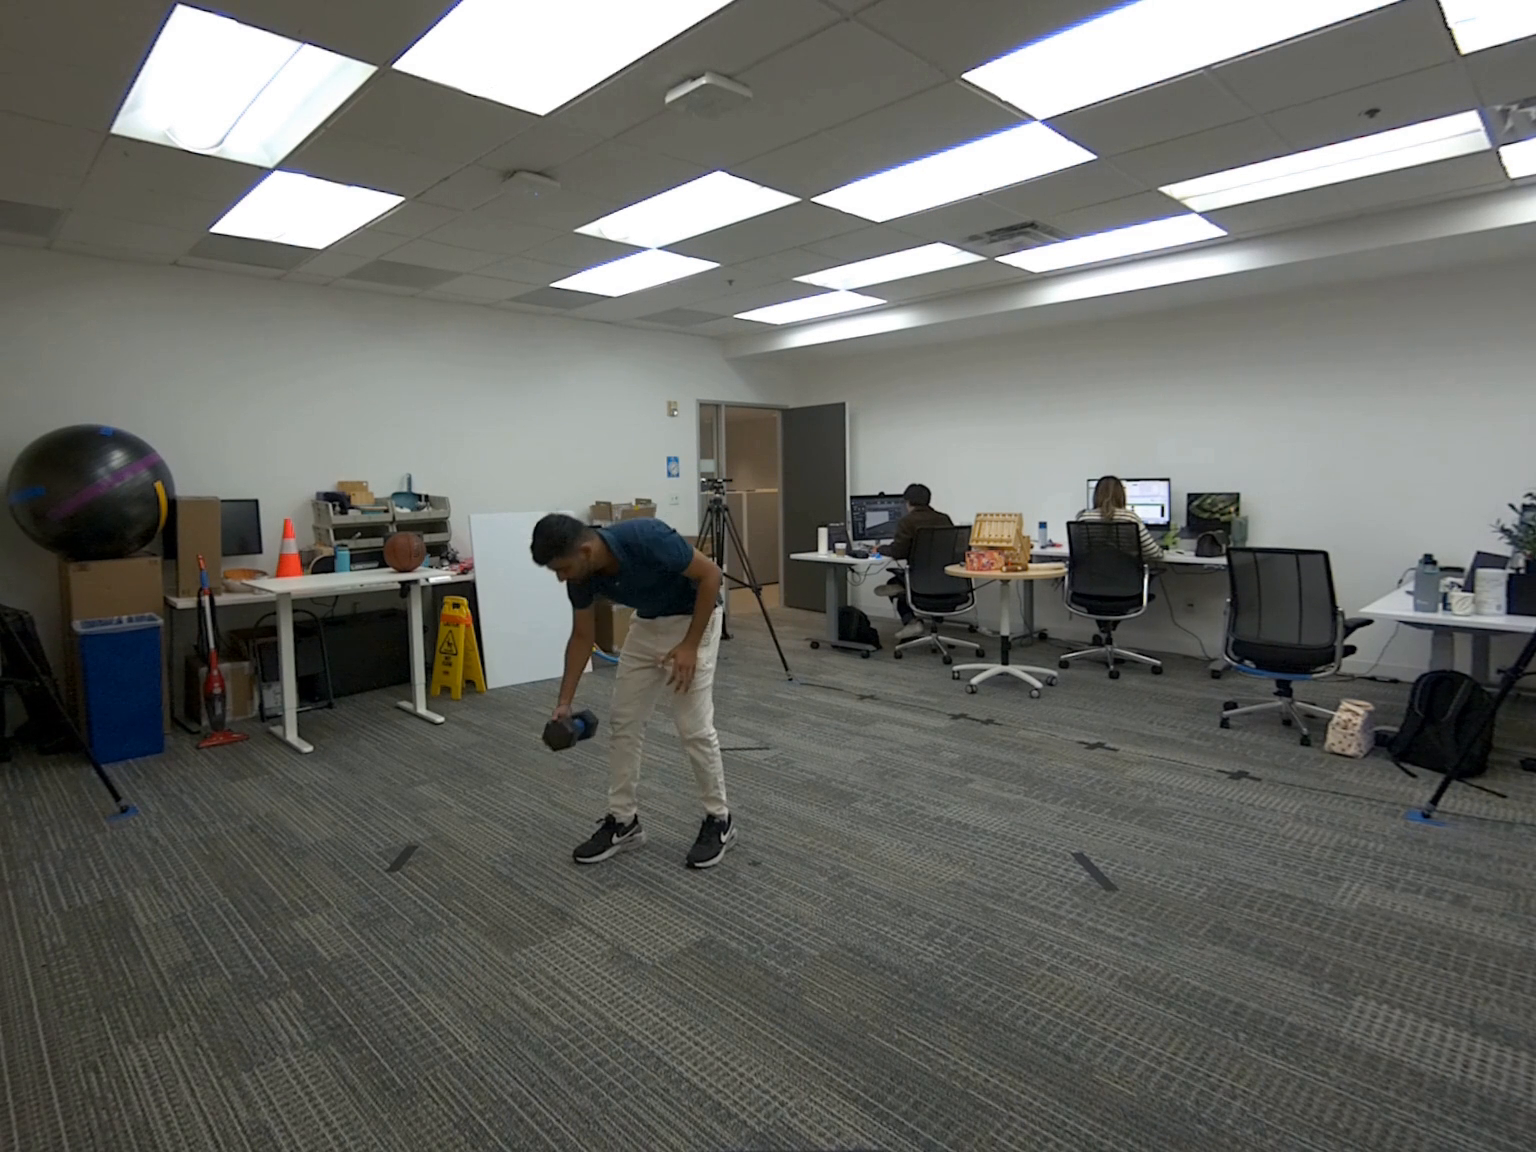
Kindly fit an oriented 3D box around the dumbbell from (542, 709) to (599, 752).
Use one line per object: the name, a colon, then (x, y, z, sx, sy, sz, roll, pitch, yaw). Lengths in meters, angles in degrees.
dumbbell: (-0.705, 0.553, 3.103, 0.110, 0.123, 0.290, 15, -2, 6)
